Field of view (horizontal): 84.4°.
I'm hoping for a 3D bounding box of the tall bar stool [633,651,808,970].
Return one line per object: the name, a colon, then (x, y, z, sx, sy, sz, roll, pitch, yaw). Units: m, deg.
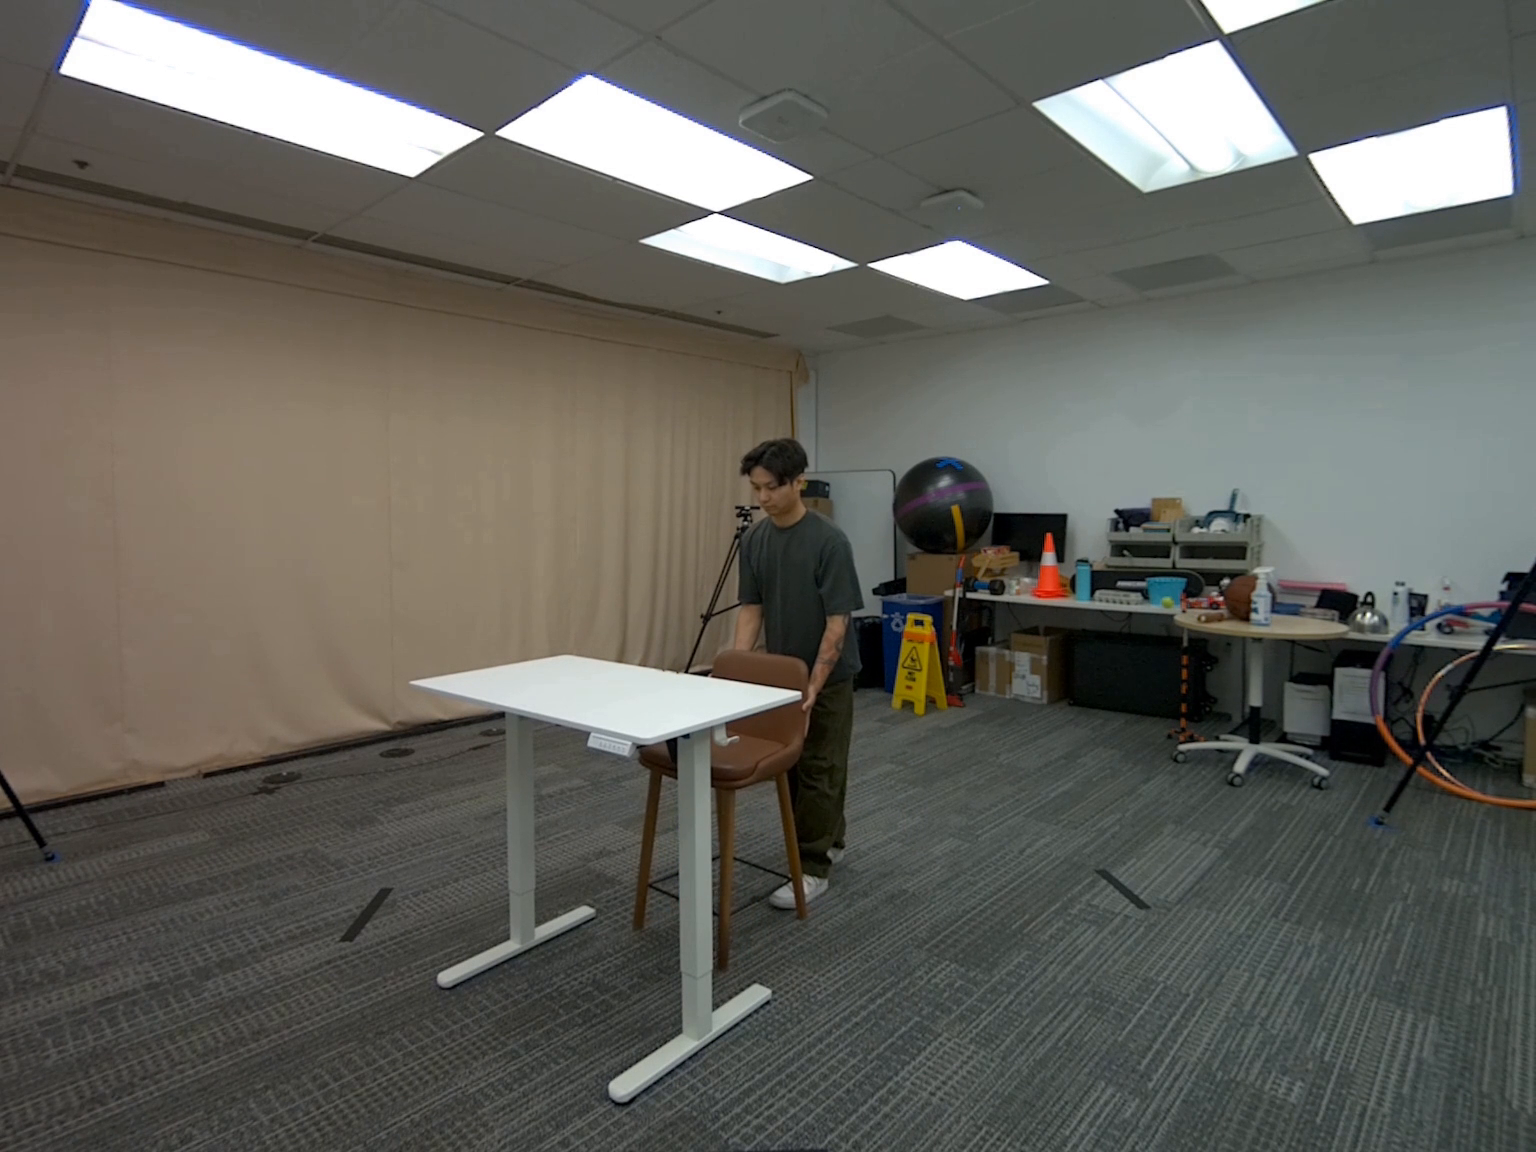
tall bar stool: (-0.145, 0.723, 2.791, 0.471, 0.889, 0.453, 2, 2, 40)
